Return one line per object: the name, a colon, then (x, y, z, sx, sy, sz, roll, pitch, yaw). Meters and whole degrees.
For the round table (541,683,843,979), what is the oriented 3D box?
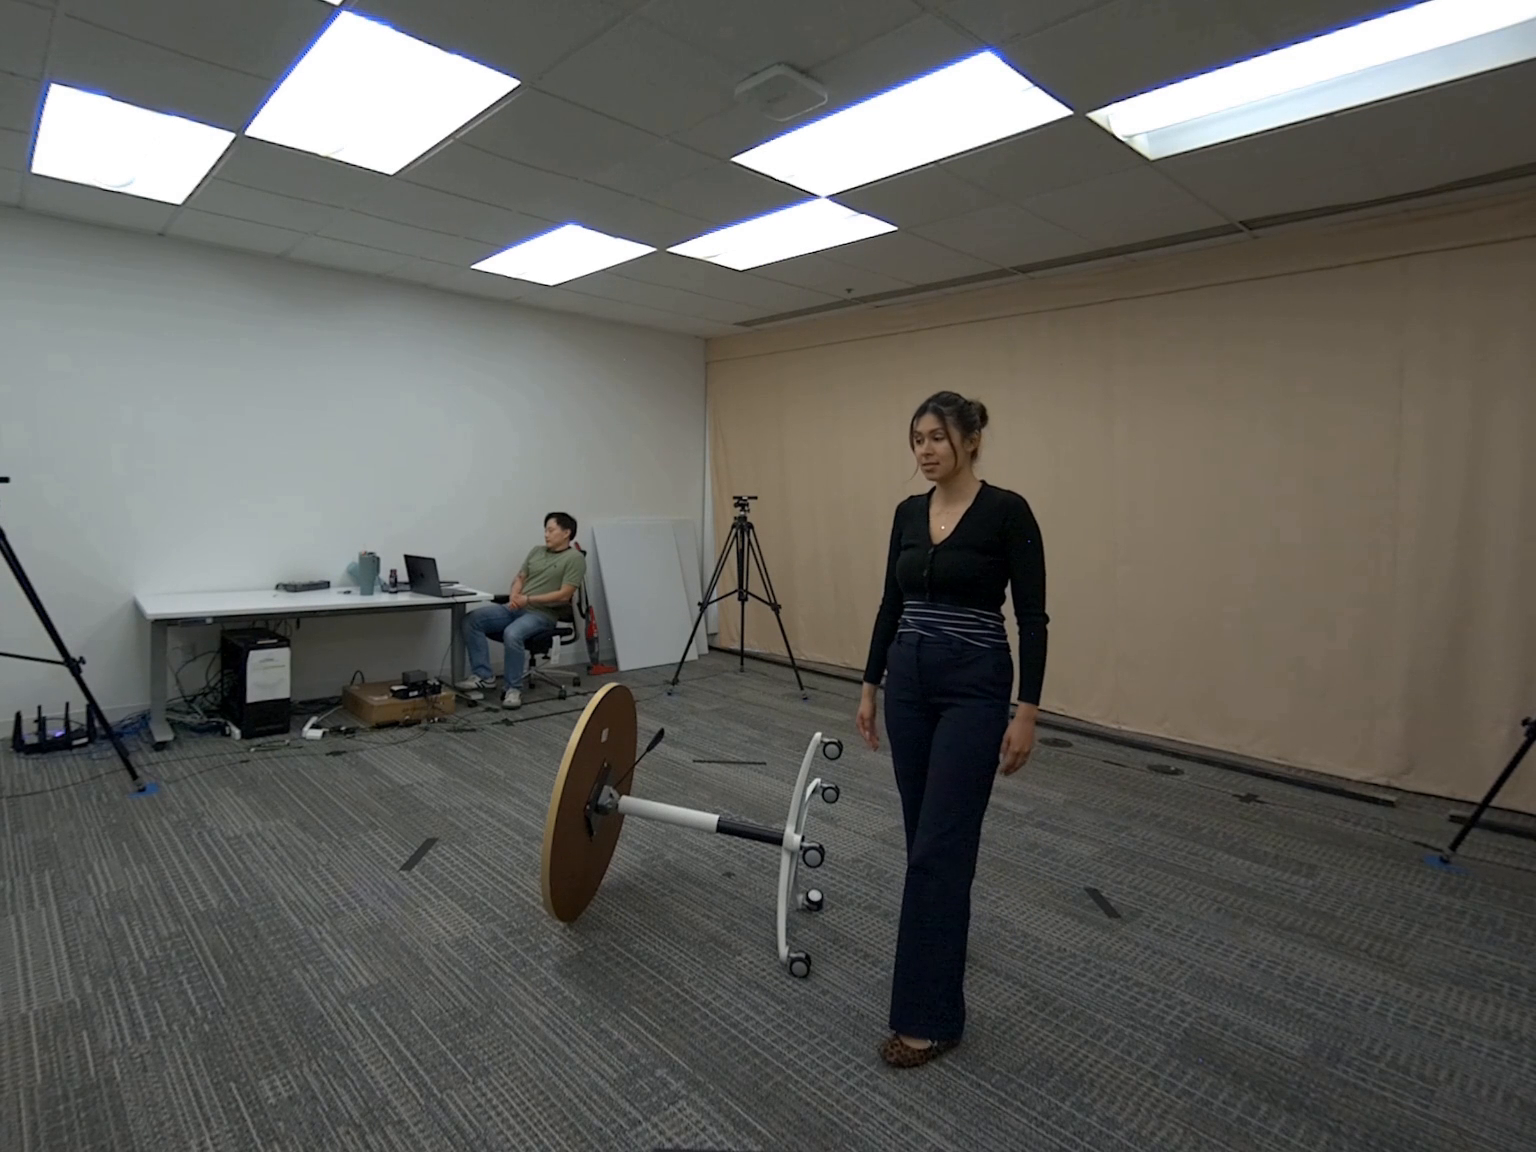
round table: (-0.203, 0.795, 2.720, 0.801, 0.761, 0.759, 8, 5, 10)
